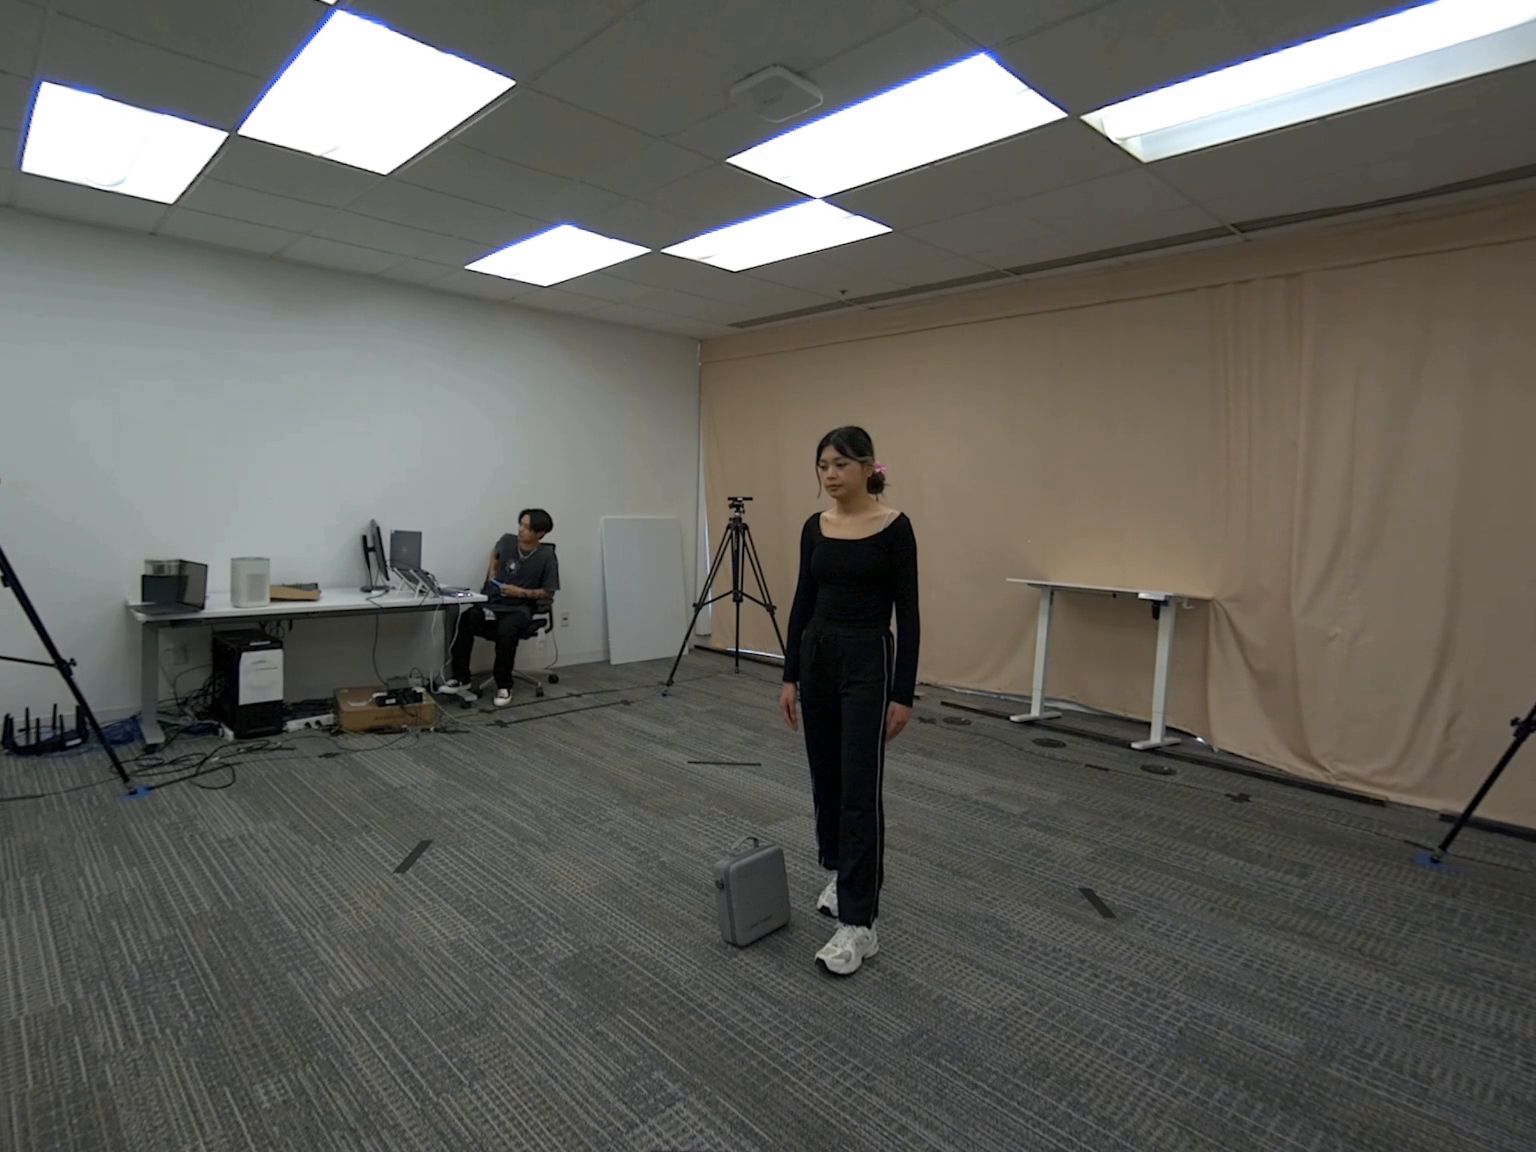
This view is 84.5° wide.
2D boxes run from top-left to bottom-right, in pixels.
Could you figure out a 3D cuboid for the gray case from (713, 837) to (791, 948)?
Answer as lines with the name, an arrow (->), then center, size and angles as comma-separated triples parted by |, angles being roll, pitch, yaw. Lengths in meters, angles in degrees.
gray case -> -0.059, 1.015, 2.703 | 0.106, 0.261, 0.251 | -12, -5, 43
